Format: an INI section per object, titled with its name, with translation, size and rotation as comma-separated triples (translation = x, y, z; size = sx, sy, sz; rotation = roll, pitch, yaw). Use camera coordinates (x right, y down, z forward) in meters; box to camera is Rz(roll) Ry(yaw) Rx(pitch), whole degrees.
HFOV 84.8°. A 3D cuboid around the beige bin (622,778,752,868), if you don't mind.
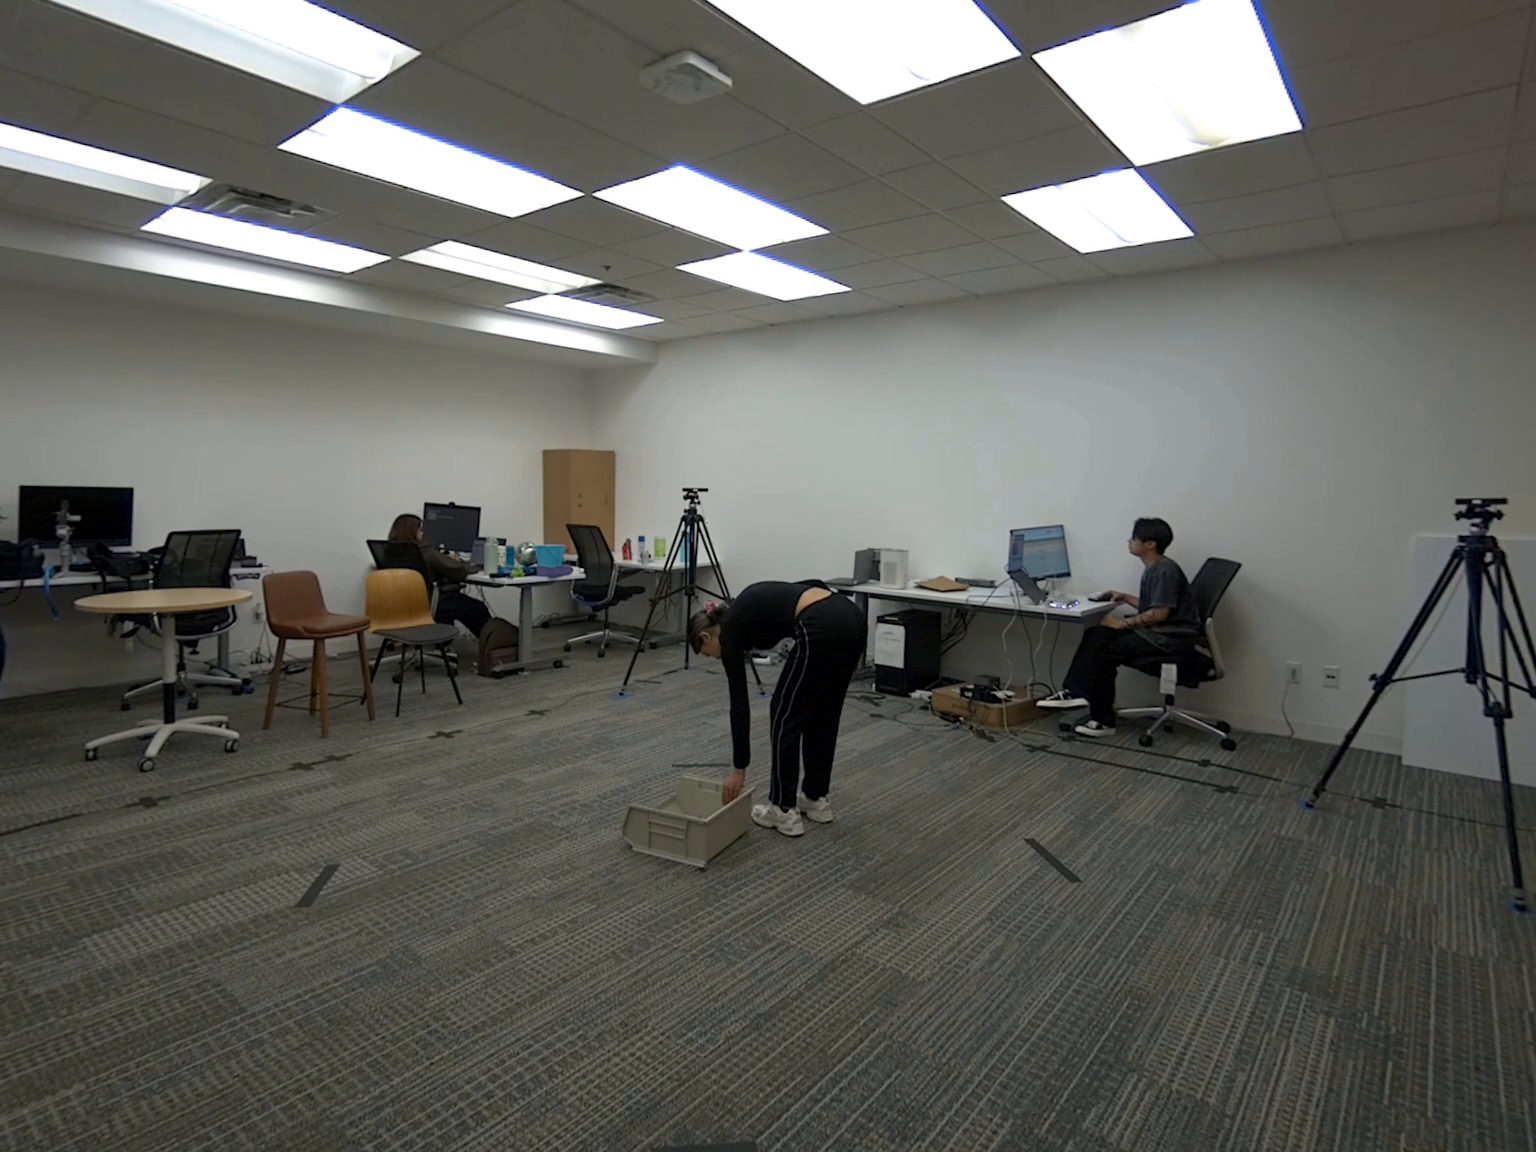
[beige bin]
translation = -0.319, 0.956, 3.376
size = 0.388, 0.188, 0.412
rotation = 4, 5, 26
